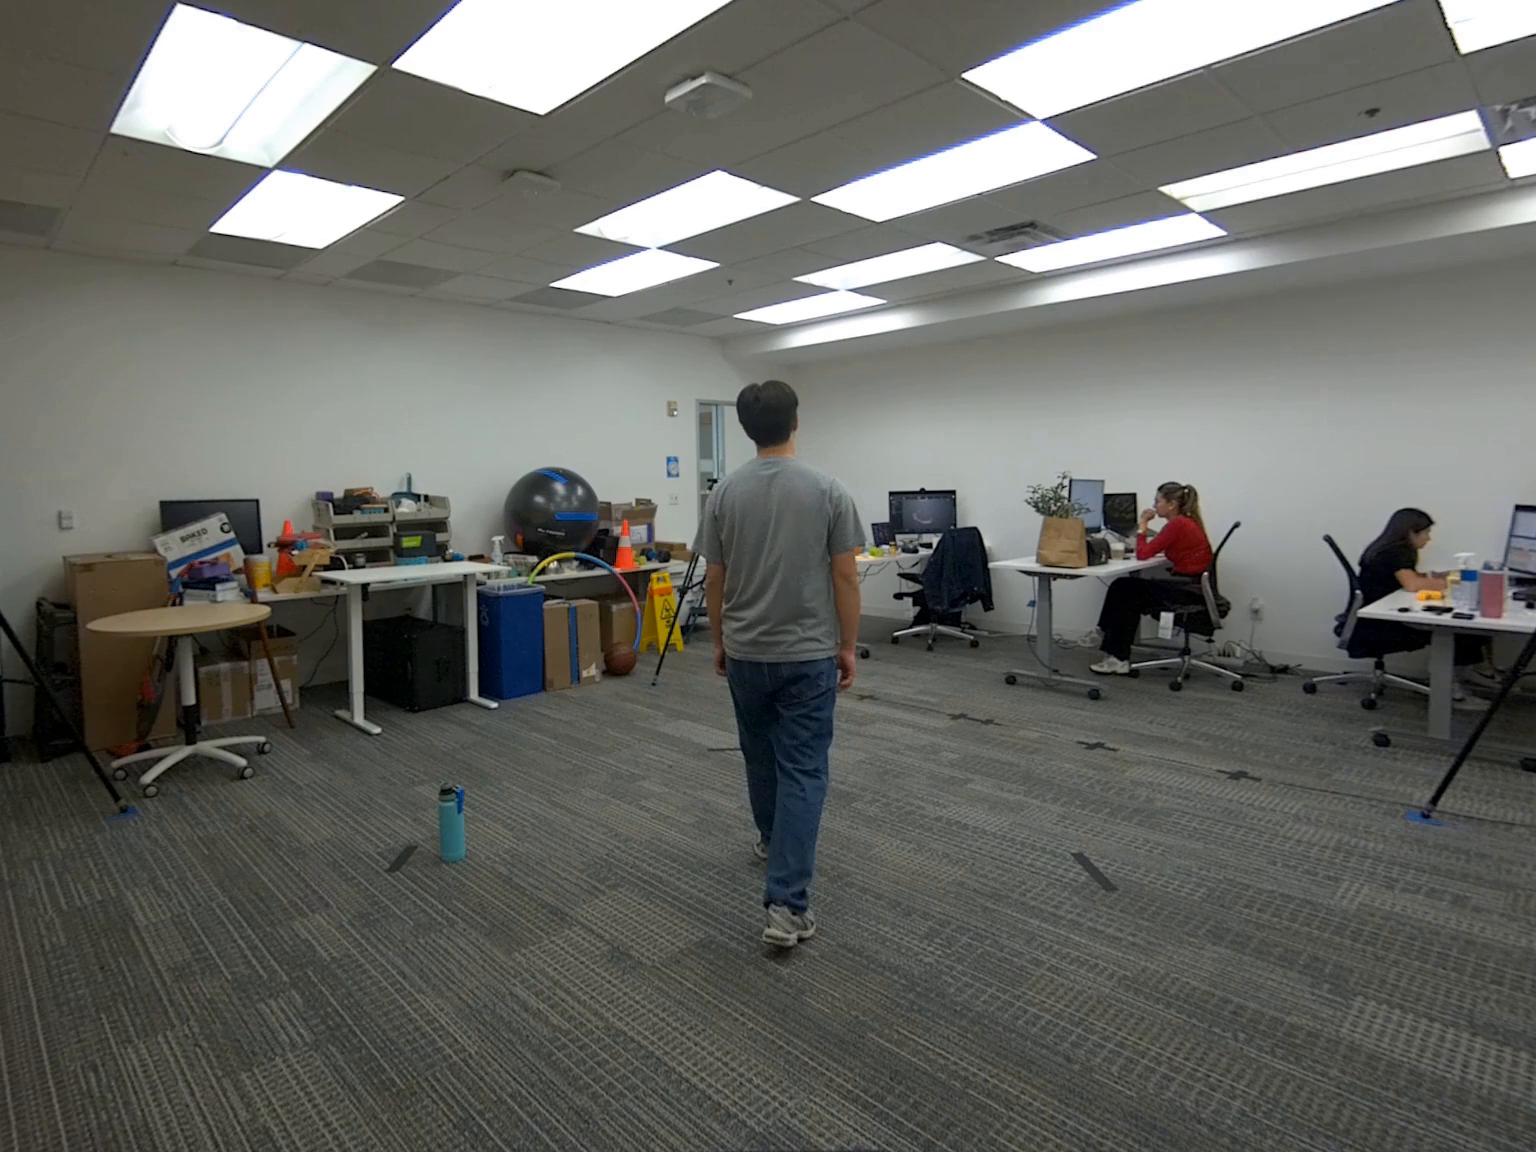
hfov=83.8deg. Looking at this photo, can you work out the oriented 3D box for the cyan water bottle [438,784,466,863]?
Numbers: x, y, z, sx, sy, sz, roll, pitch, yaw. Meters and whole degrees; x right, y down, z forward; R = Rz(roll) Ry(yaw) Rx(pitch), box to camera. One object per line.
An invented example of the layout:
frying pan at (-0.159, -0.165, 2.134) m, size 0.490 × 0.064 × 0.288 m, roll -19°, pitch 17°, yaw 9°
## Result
cyan water bottle at (-1.185, 0.918, 3.202) m, size 0.092 × 0.282 × 0.093 m, roll -1°, pitch 3°, yaw -2°
